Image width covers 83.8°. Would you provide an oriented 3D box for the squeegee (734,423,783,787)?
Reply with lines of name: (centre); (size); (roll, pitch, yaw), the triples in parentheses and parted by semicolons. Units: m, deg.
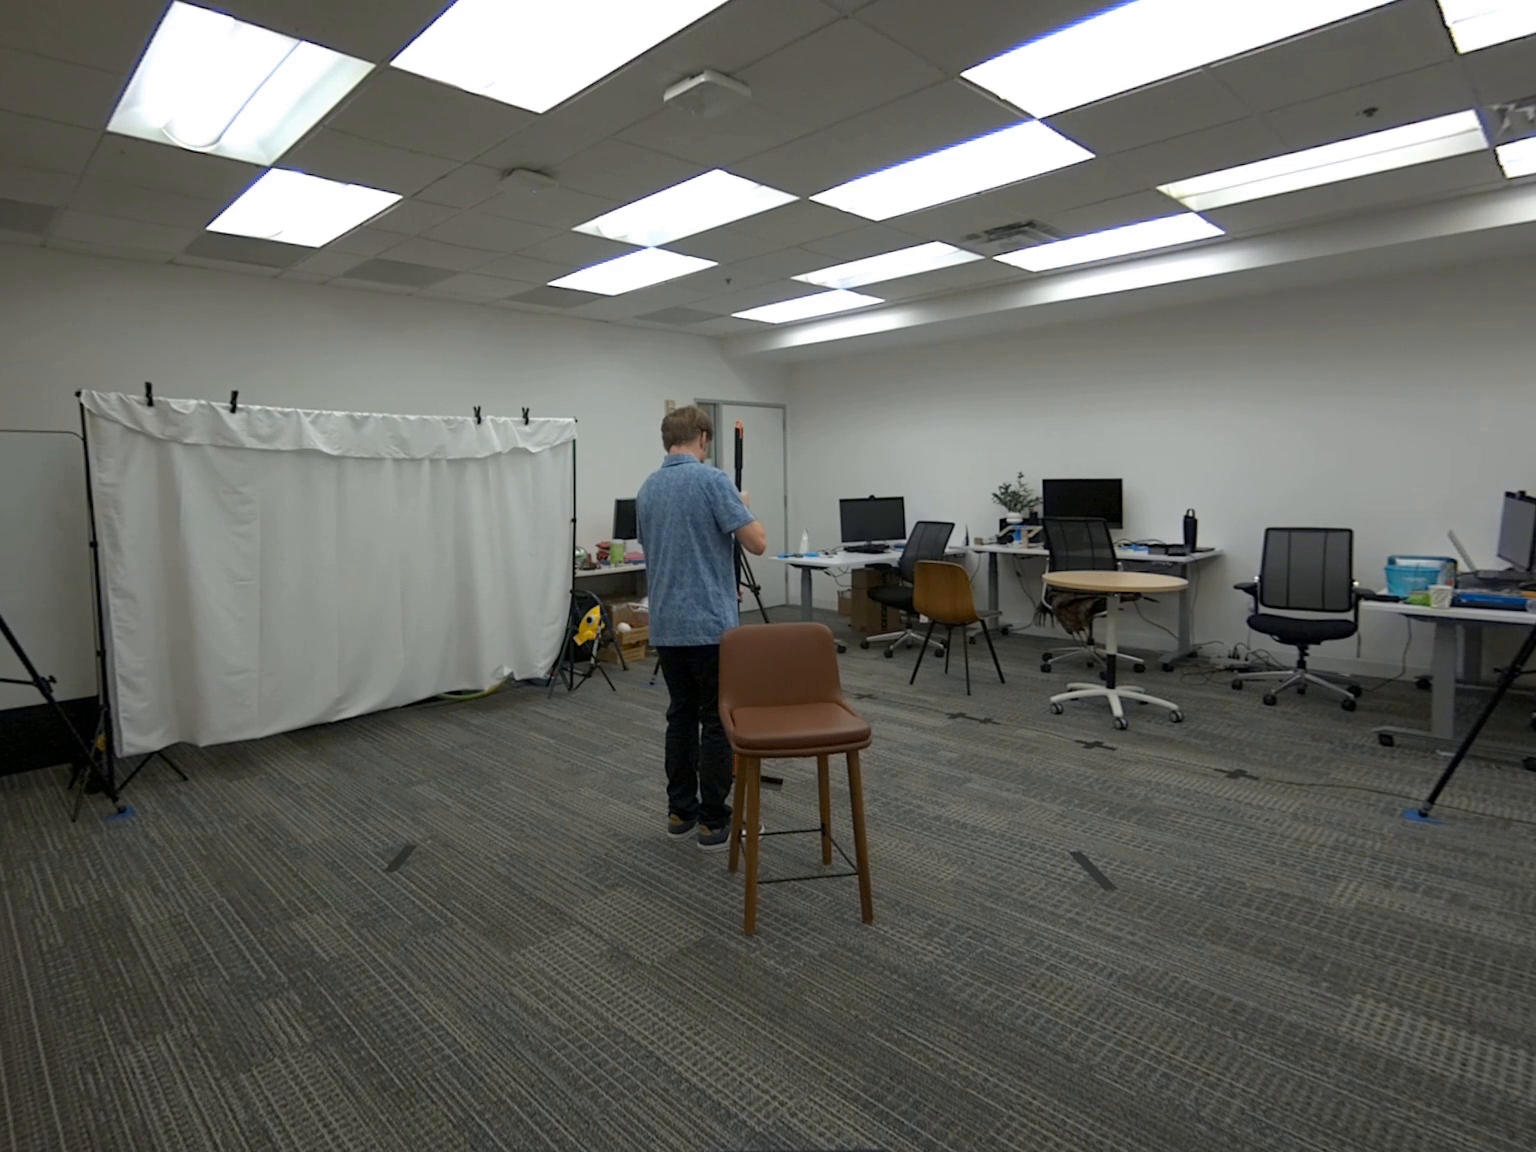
squeegee: (-0.129, 0.167, 3.562); (0.447, 1.523, 0.052); (6, 11, 21)
